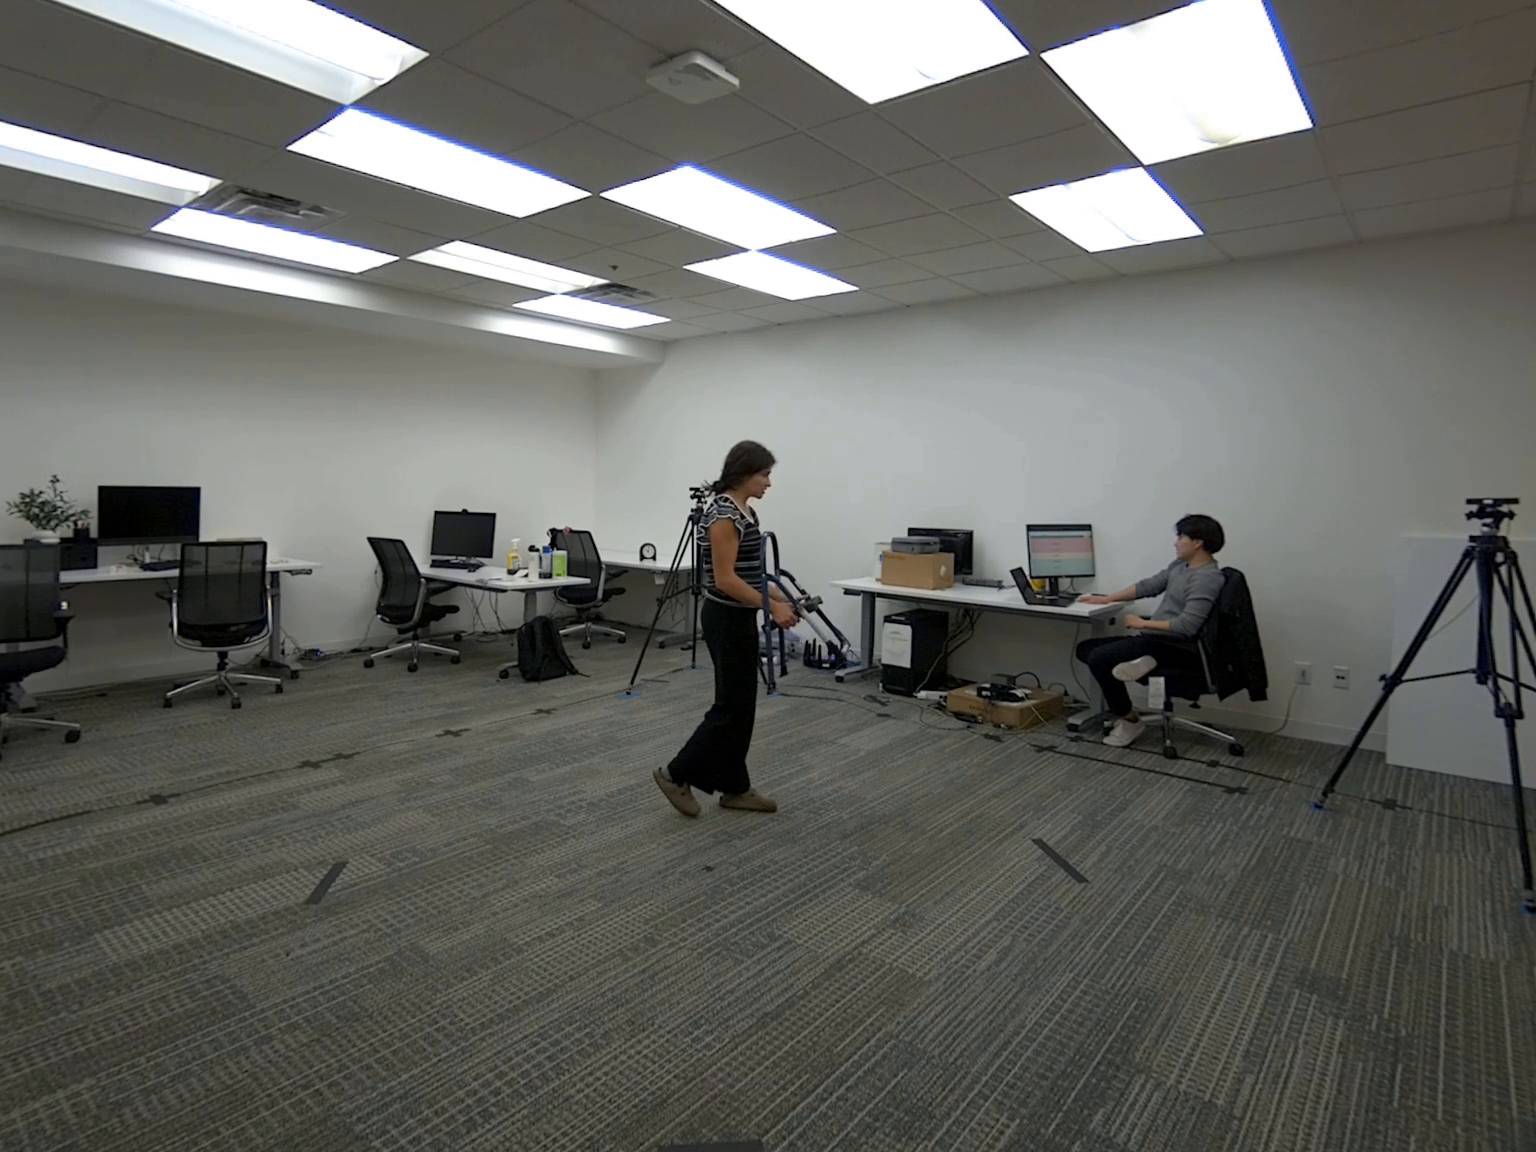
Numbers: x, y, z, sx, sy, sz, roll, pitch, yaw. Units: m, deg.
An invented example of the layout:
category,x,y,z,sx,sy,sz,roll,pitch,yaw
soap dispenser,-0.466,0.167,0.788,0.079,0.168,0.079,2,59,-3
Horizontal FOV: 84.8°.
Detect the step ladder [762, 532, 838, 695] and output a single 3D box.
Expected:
category,x,y,z,sx,sy,sz,roll,pitch,yaw
step ladder,0.047,0.117,3.633,0.351,0.609,0.426,-24,-3,9
